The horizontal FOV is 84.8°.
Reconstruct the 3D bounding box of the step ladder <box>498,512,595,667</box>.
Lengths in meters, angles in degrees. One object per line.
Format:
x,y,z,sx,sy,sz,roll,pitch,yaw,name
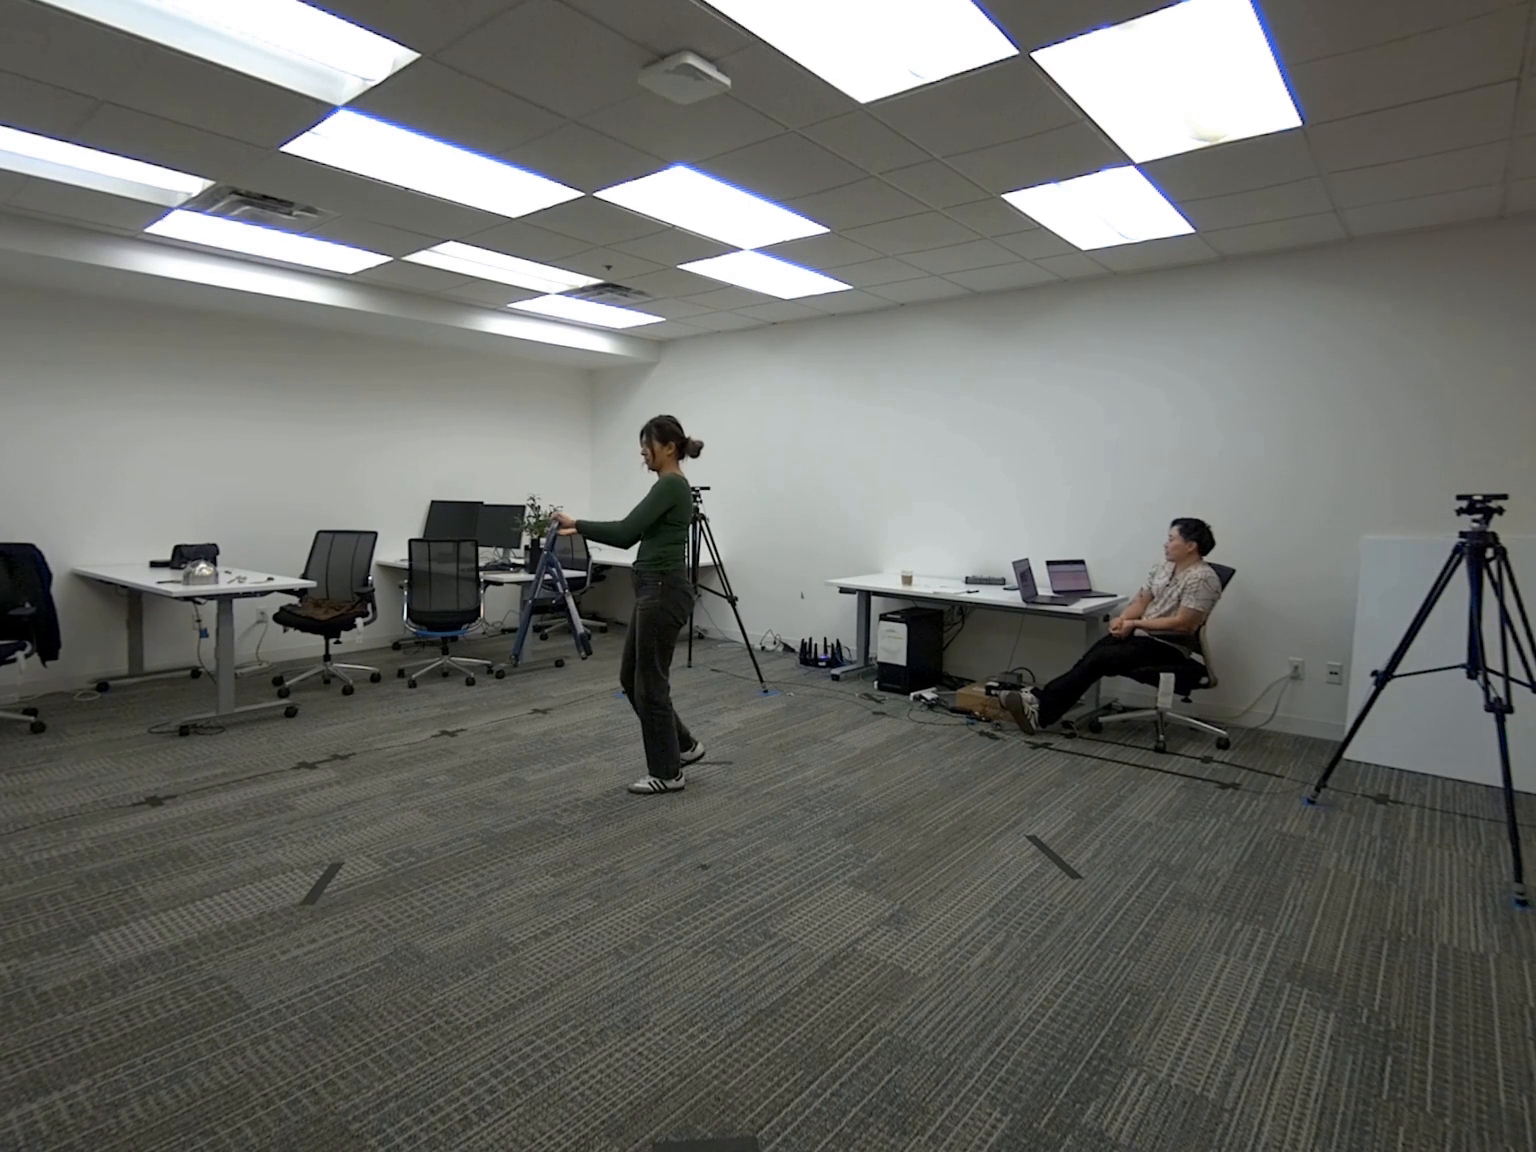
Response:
-0.983,0.067,3.695,0.344,0.612,0.433,-4,-8,-15,step ladder
